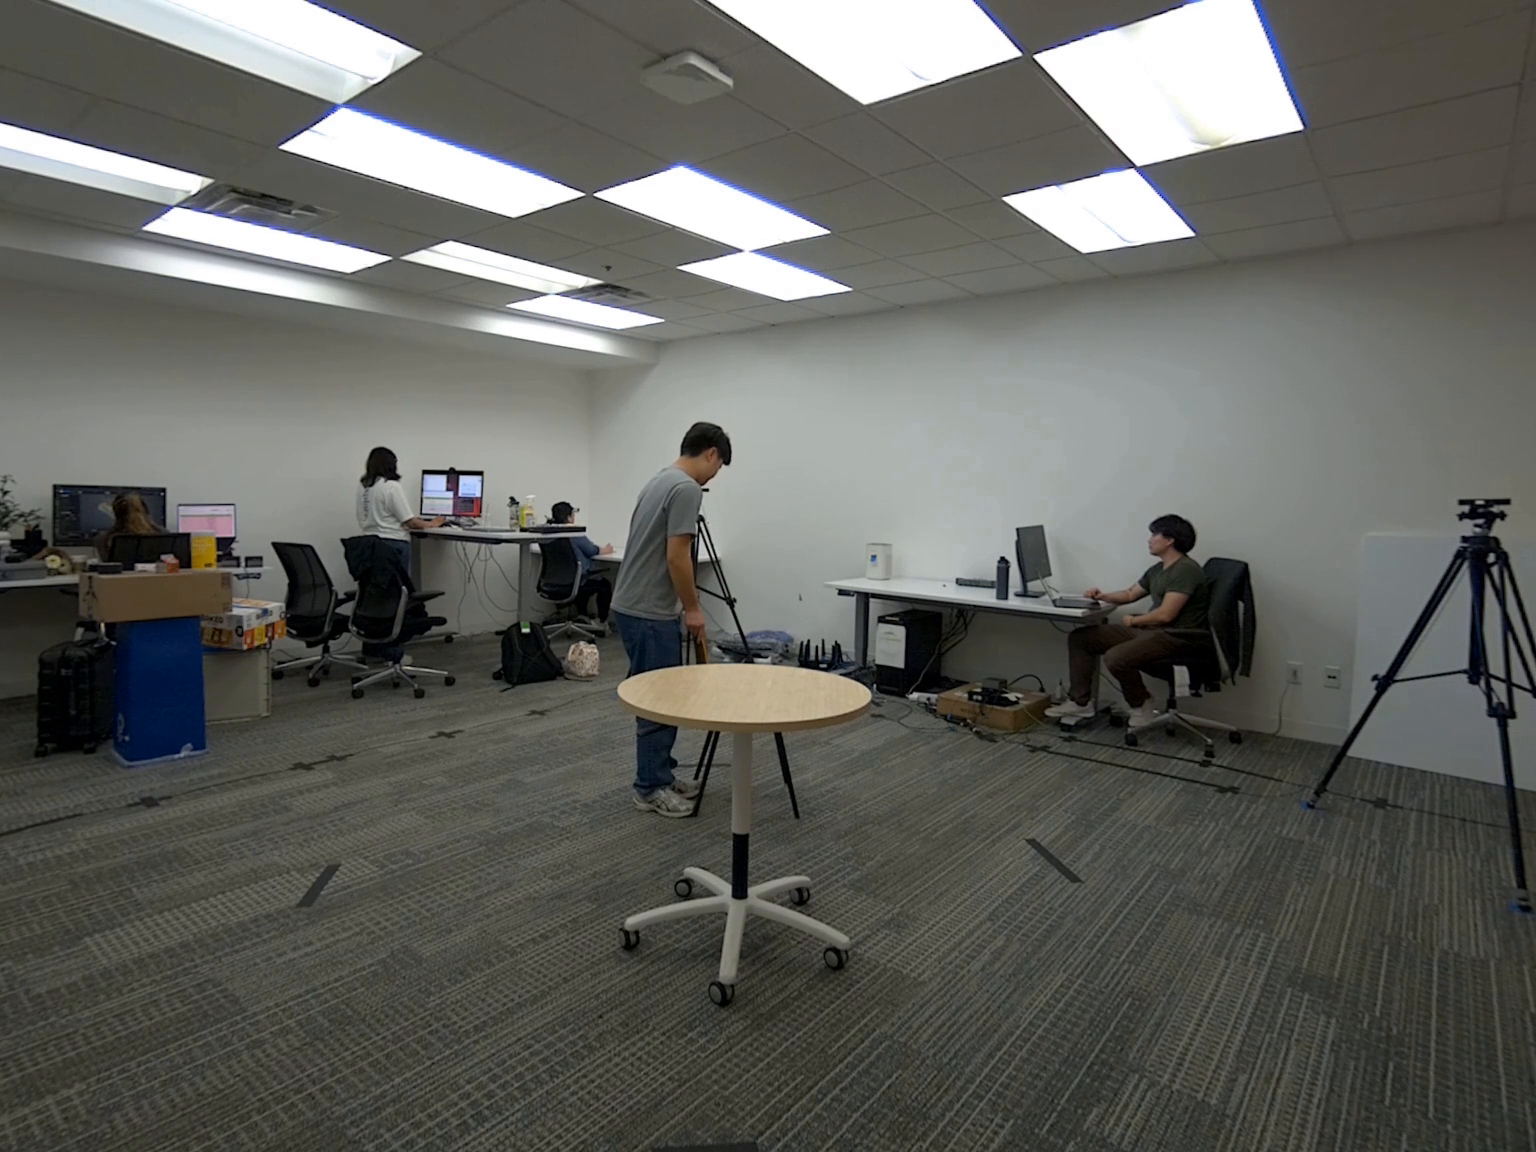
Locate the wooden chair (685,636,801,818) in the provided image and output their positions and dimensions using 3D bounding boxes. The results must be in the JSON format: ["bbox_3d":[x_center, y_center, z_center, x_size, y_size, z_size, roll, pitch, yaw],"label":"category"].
[{"bbox_3d":[-0.107,0.574,3.791,0.522,0.875,0.480,-3,3,-2],"label":"wooden chair"}]
